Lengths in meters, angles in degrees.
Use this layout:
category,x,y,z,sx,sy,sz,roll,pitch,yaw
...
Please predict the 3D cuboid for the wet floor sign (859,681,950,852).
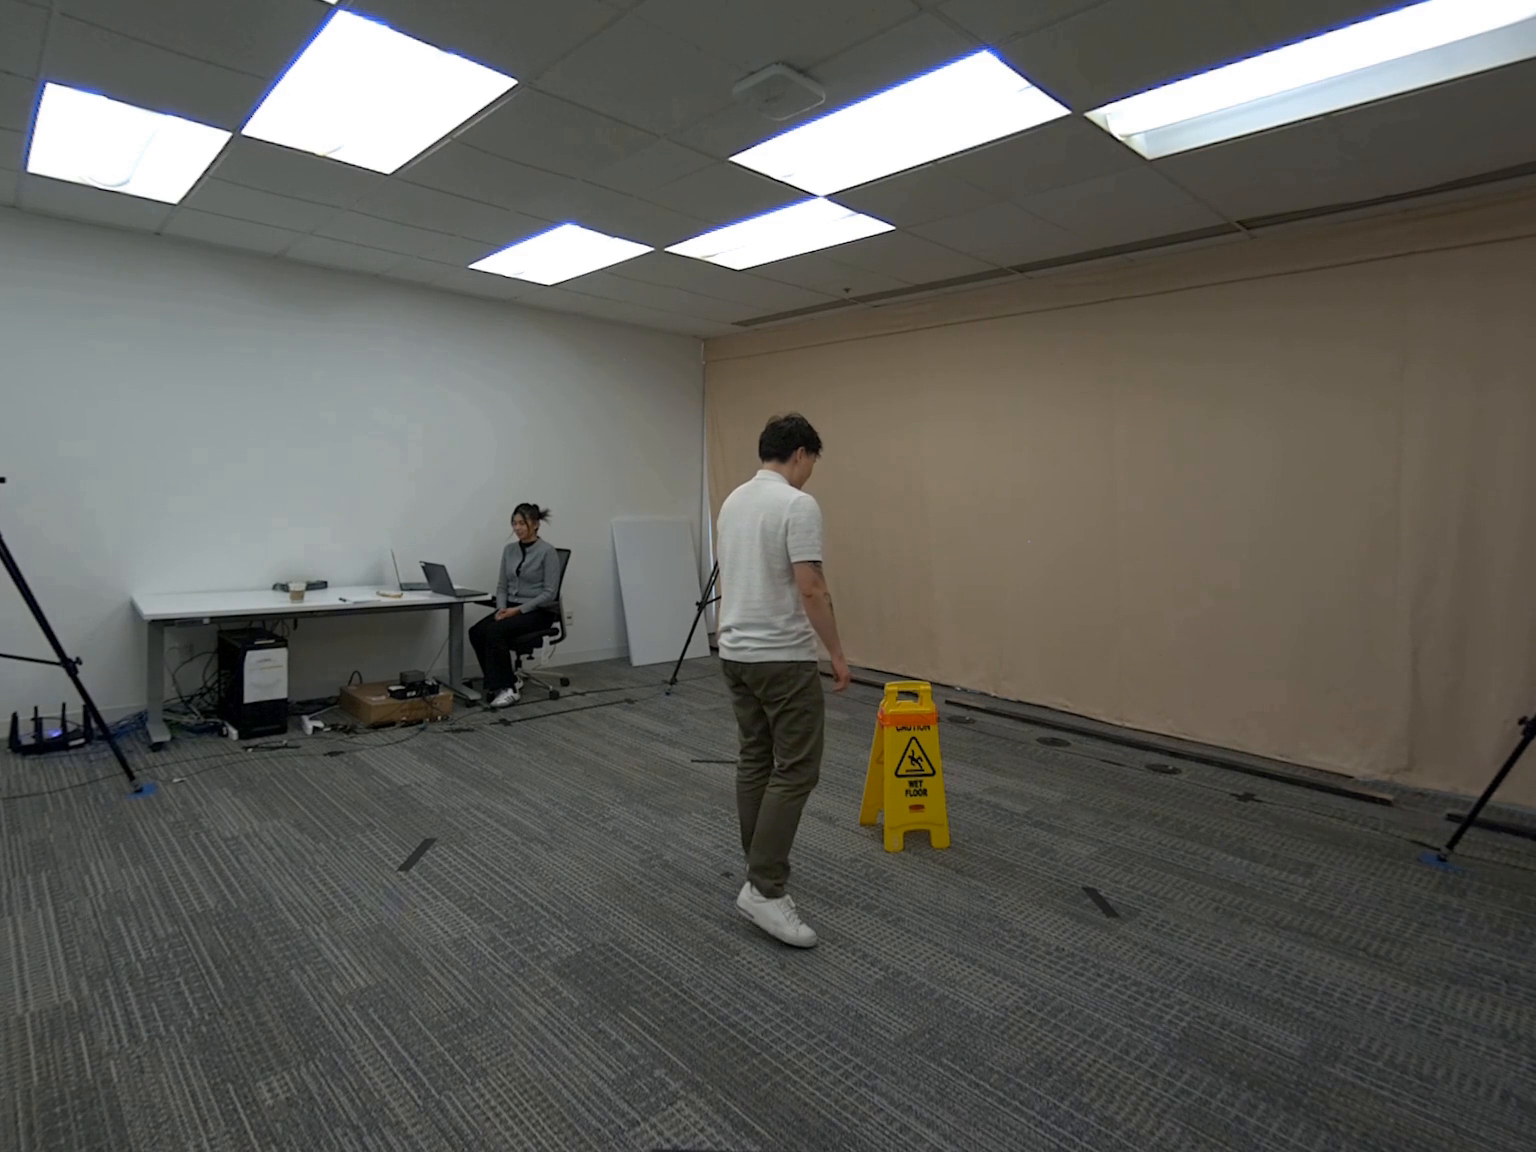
category,x,y,z,sx,sy,sz,roll,pitch,yaw
wet floor sign,0.564,0.760,3.499,0.279,0.645,0.293,1,3,-15
